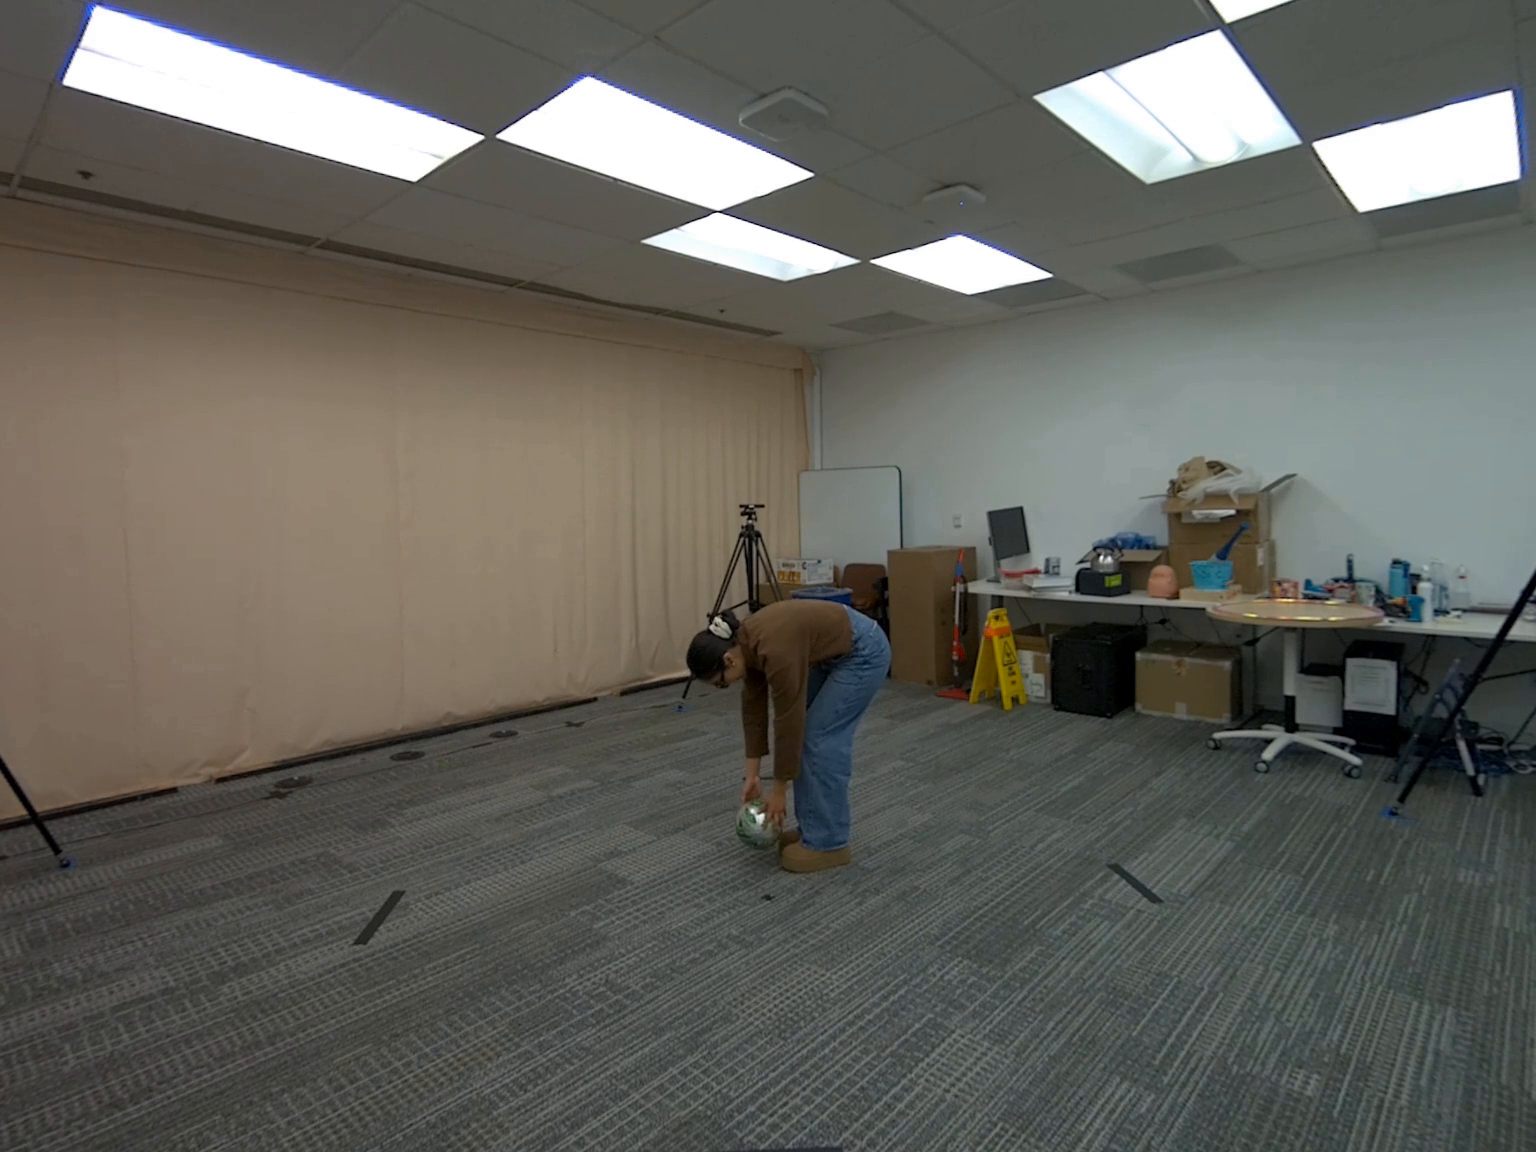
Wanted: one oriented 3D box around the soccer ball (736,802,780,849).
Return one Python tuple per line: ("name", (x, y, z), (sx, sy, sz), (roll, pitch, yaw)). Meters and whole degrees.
("soccer ball", (-0.031, 0.960, 3.263), (0.187, 0.187, 0.188), (-1, 4, -2))
